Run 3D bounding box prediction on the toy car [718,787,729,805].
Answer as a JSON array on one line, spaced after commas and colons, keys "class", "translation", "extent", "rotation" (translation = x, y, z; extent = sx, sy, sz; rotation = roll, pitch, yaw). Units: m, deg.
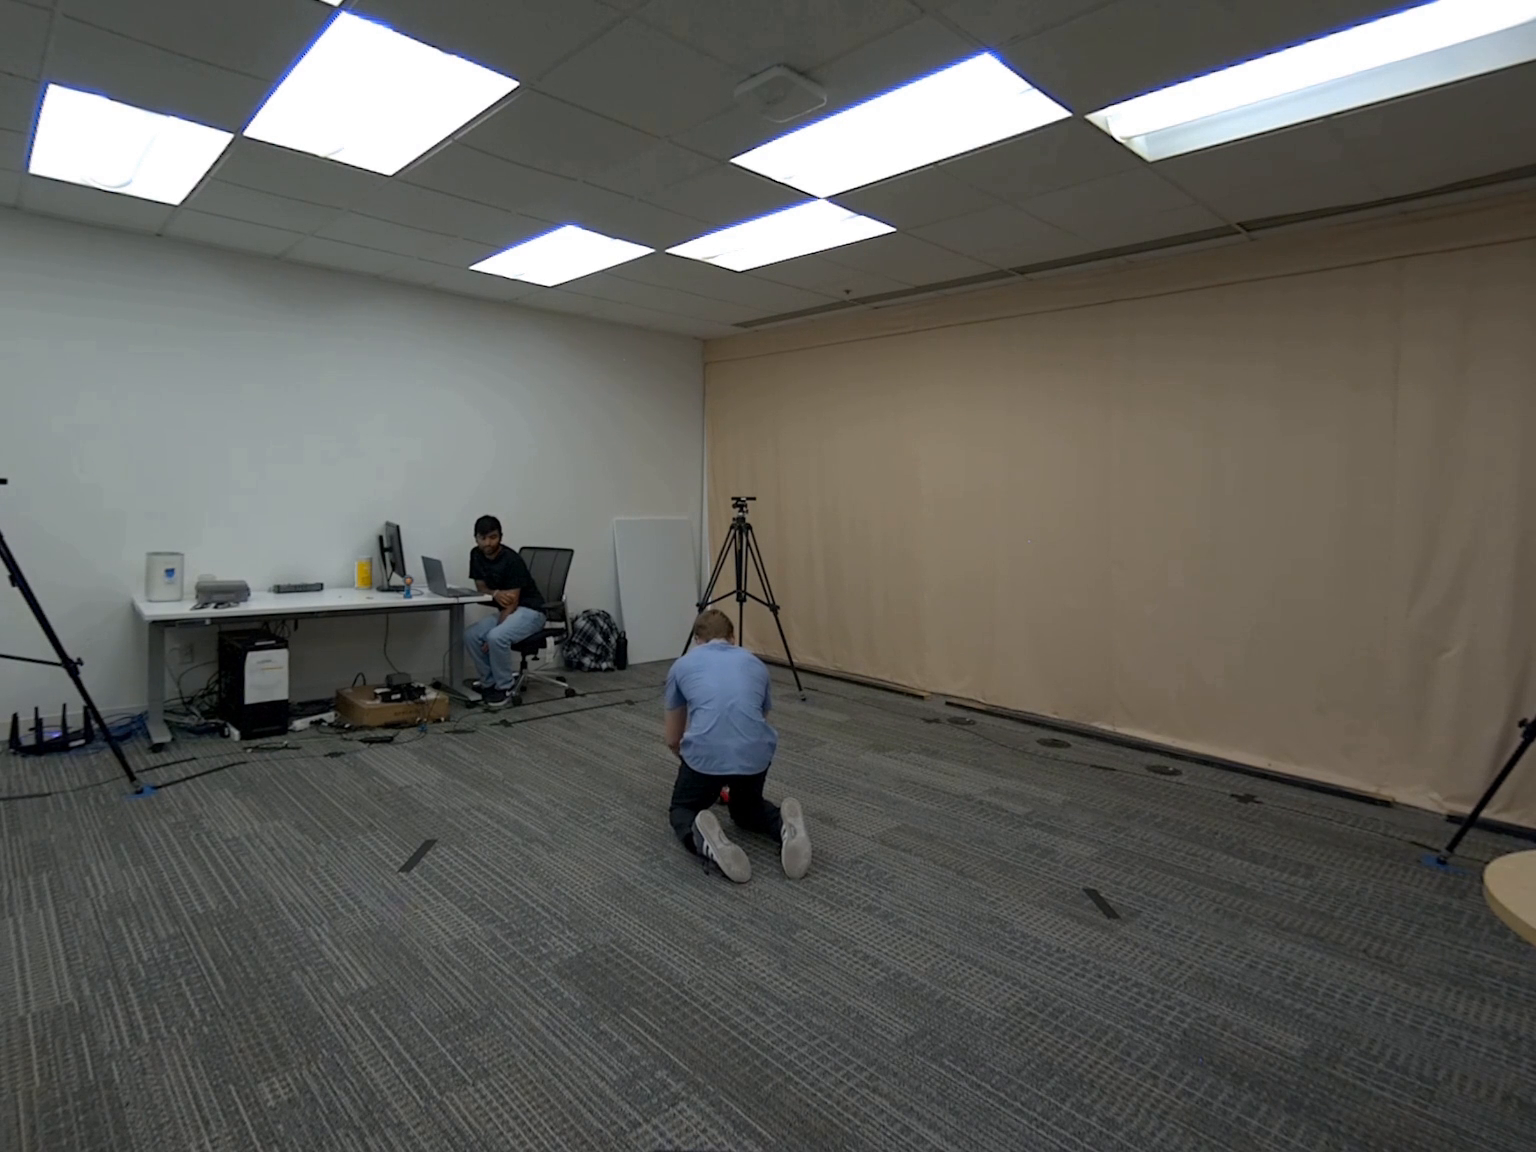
[{"class": "toy car", "translation": [-0.238, 1.009, 3.908], "extent": [0.259, 0.083, 0.127], "rotation": [-8, -4, 37]}]
